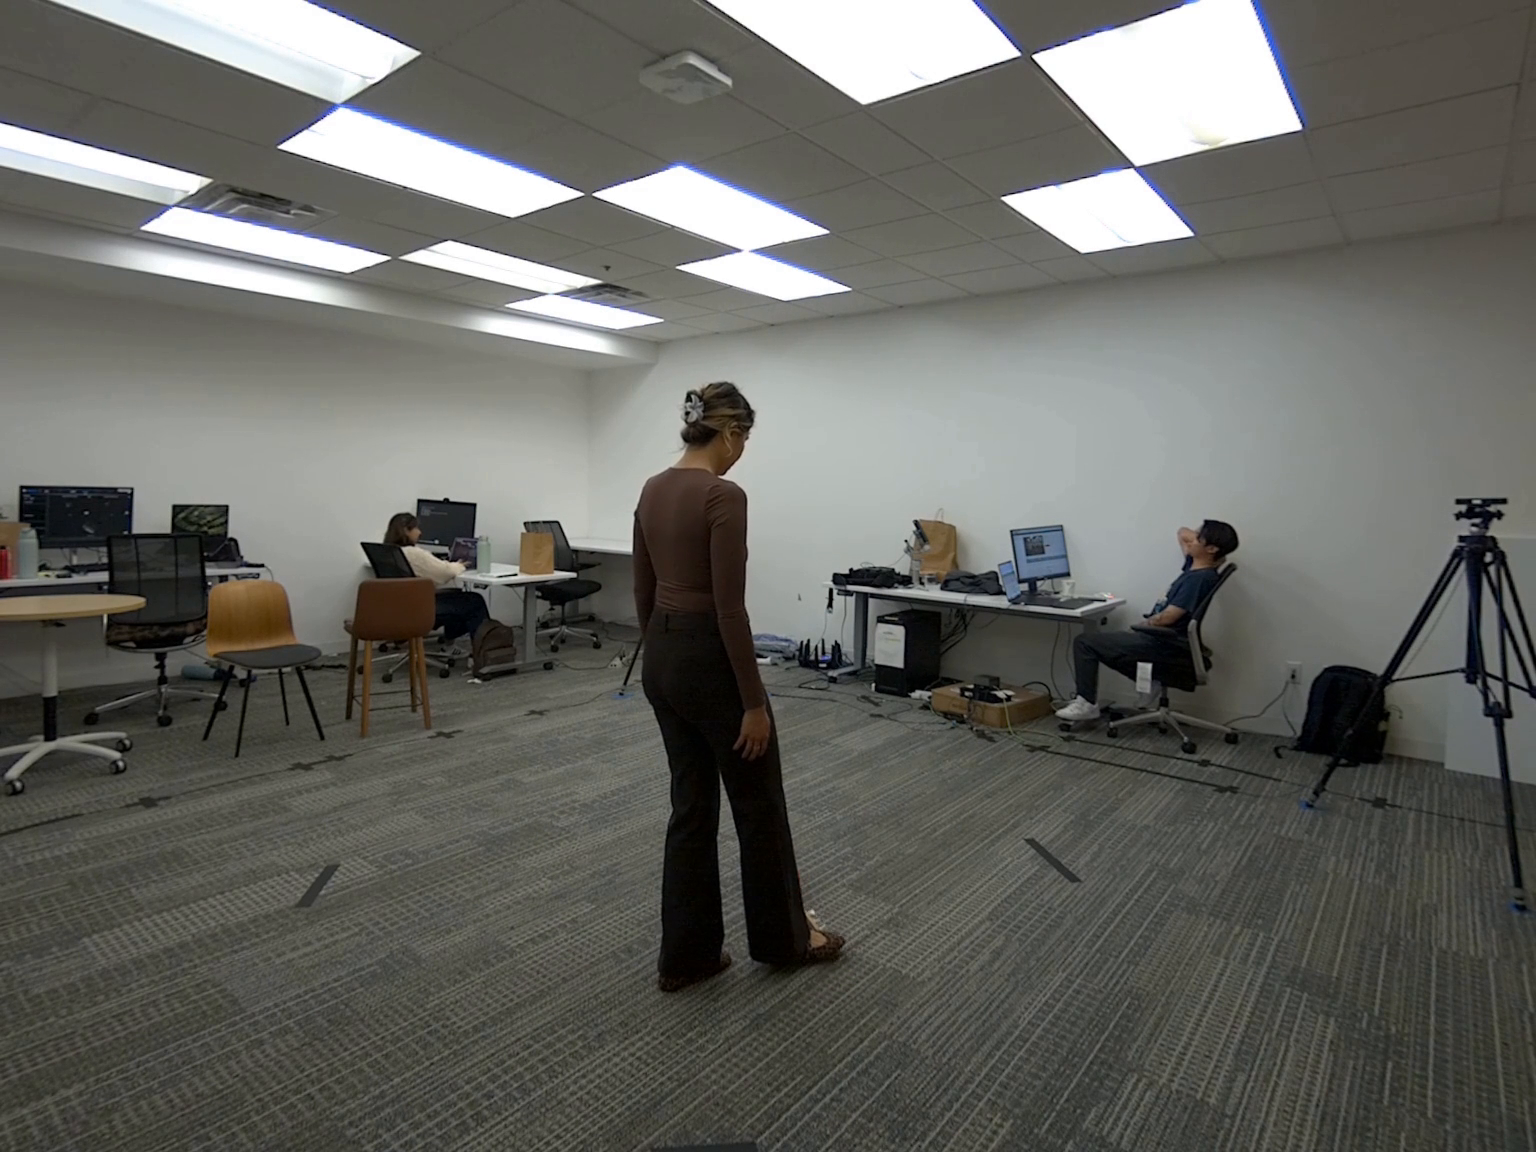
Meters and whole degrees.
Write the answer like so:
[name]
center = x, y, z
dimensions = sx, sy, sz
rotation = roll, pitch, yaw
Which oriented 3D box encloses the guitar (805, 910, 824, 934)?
[guitar]
center = 0.059, 1.052, 2.835
dimensions = 0.069, 0.190, 0.518
rotation = -3, 24, -26
